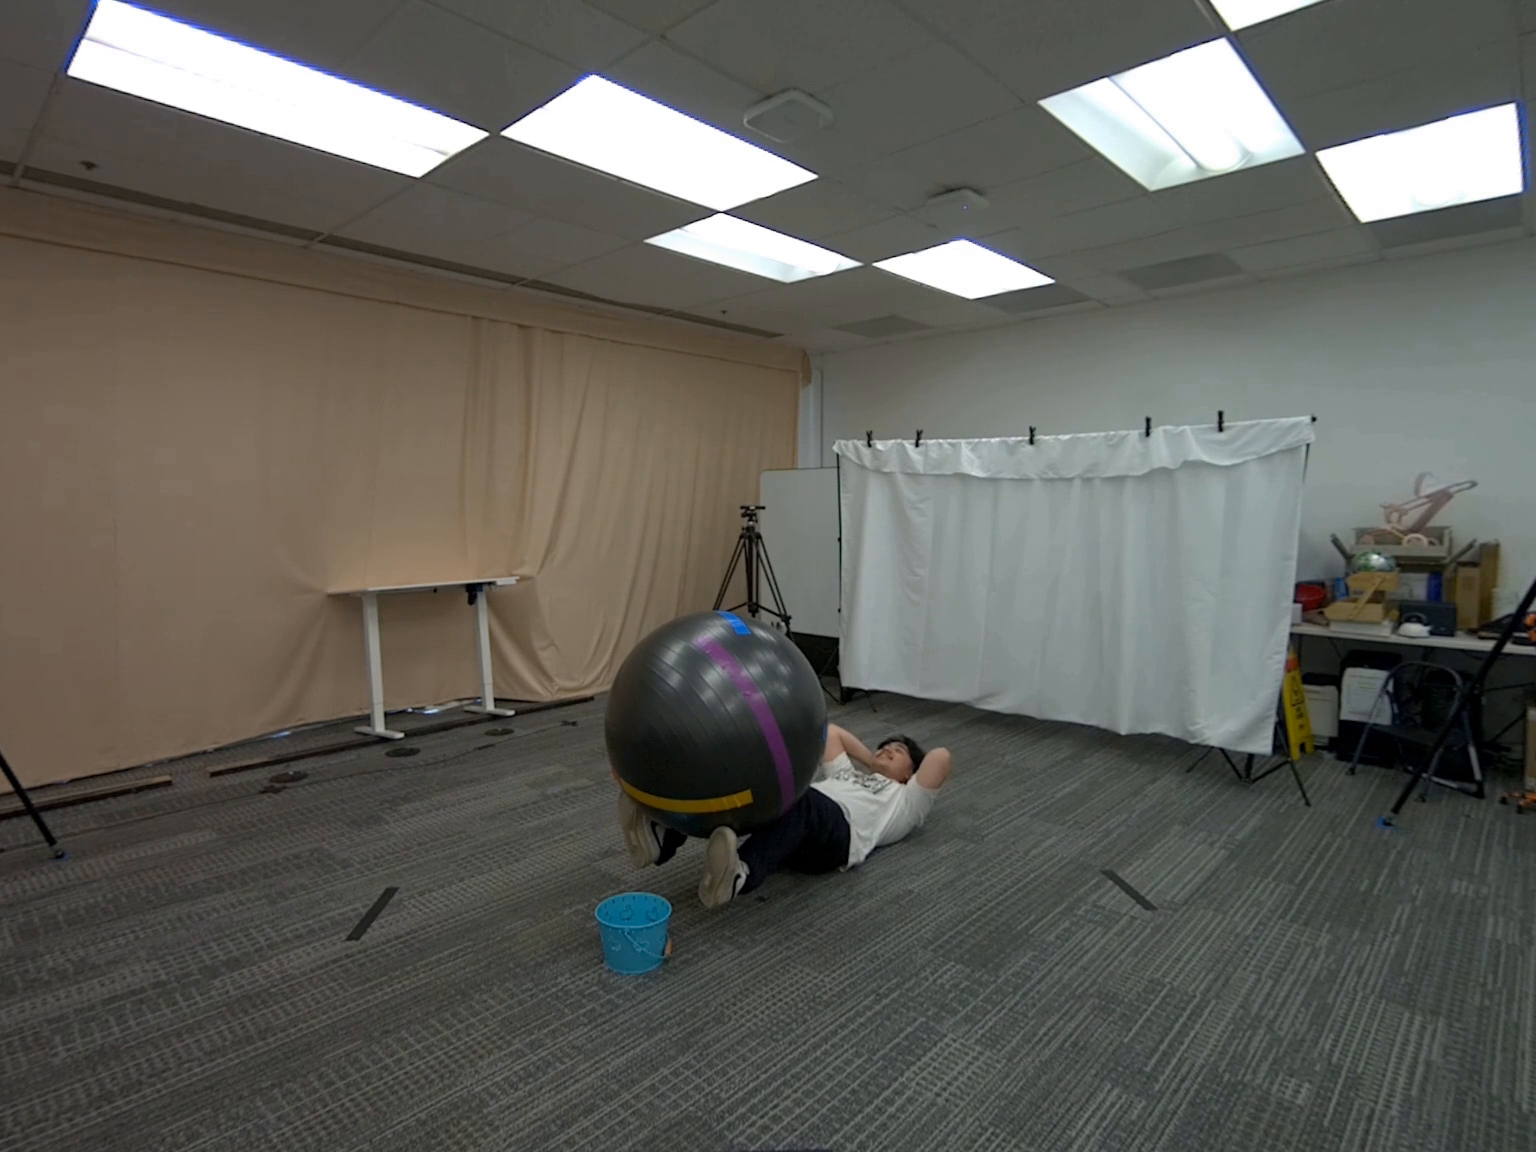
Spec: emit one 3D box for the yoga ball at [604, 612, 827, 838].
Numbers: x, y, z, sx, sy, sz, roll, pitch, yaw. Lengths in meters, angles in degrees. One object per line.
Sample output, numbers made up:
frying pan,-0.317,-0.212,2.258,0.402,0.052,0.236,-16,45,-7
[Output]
yoga ball,-0.174,0.496,2.882,0.757,0.756,0.760,0,4,-2
